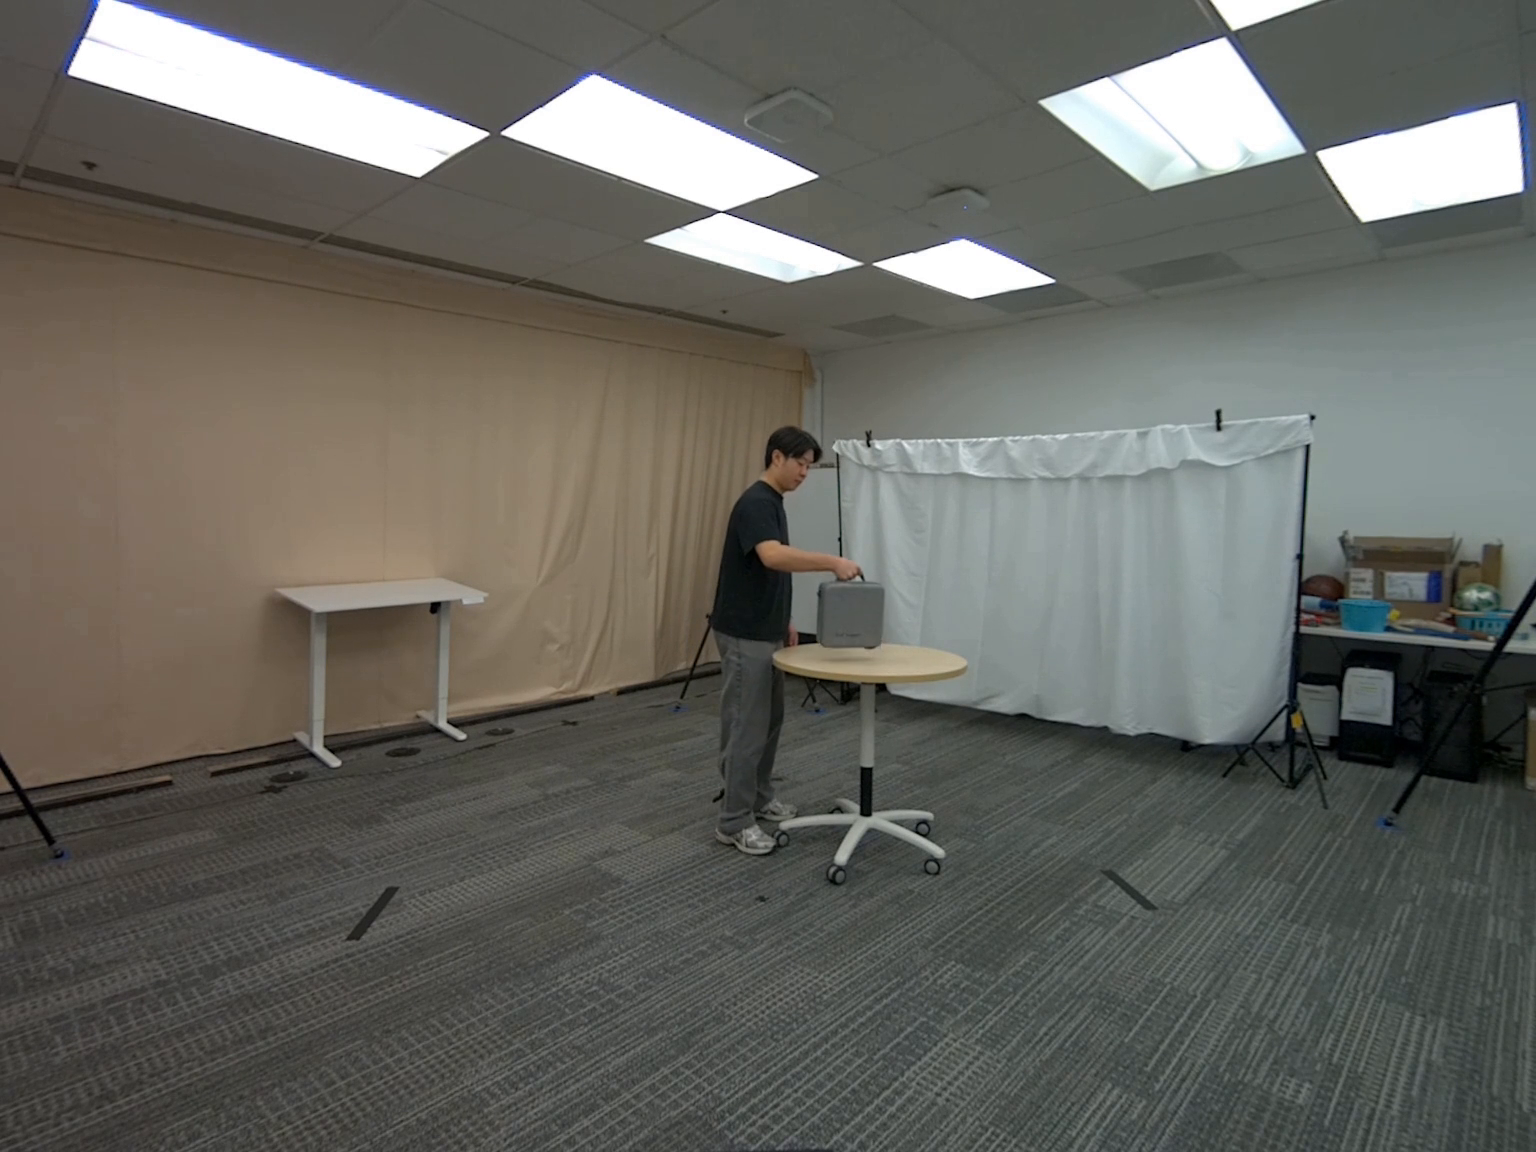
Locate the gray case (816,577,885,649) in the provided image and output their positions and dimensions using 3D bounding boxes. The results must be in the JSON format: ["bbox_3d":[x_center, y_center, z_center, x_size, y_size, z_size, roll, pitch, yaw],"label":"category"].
[{"bbox_3d":[0.326,0.125,3.284,0.260,0.286,0.105,1,5,-12],"label":"gray case"}]
